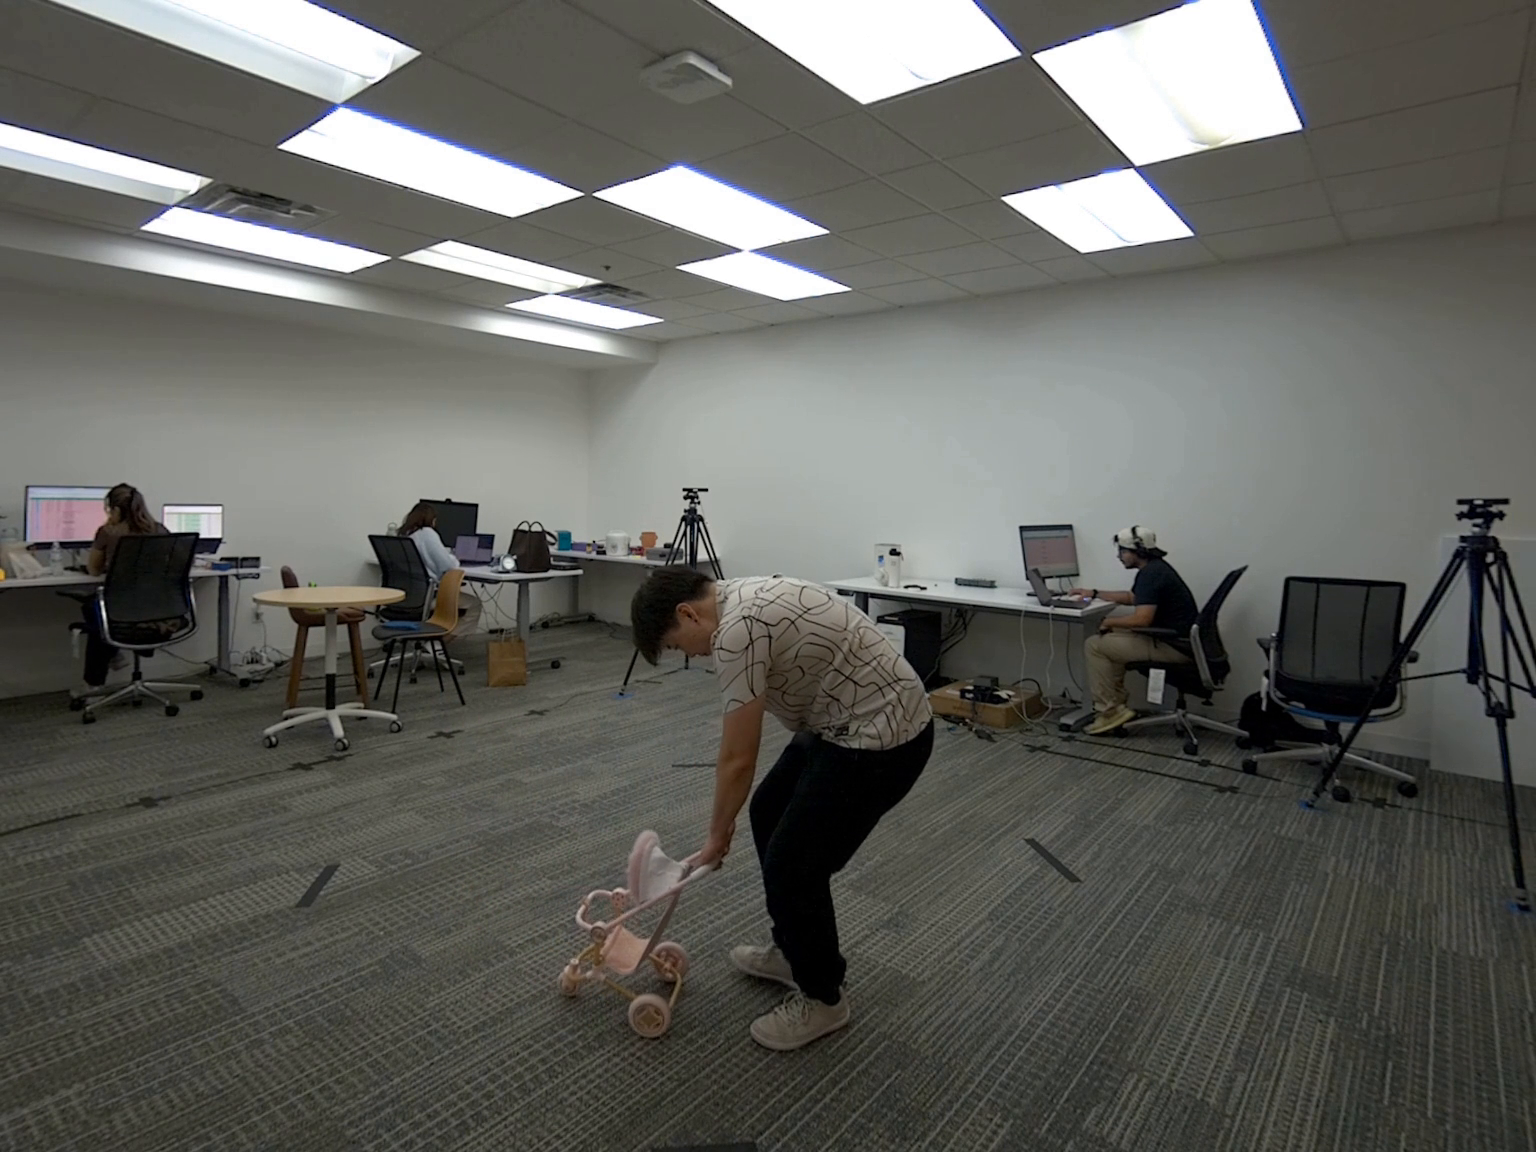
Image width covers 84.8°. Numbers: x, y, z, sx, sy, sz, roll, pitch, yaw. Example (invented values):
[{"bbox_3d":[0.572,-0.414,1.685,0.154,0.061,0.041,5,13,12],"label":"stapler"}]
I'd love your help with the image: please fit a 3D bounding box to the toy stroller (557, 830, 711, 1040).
[{"bbox_3d":[-0.360,0.925,2.280,0.347,0.533,0.278,17,7,12],"label":"toy stroller"}]
